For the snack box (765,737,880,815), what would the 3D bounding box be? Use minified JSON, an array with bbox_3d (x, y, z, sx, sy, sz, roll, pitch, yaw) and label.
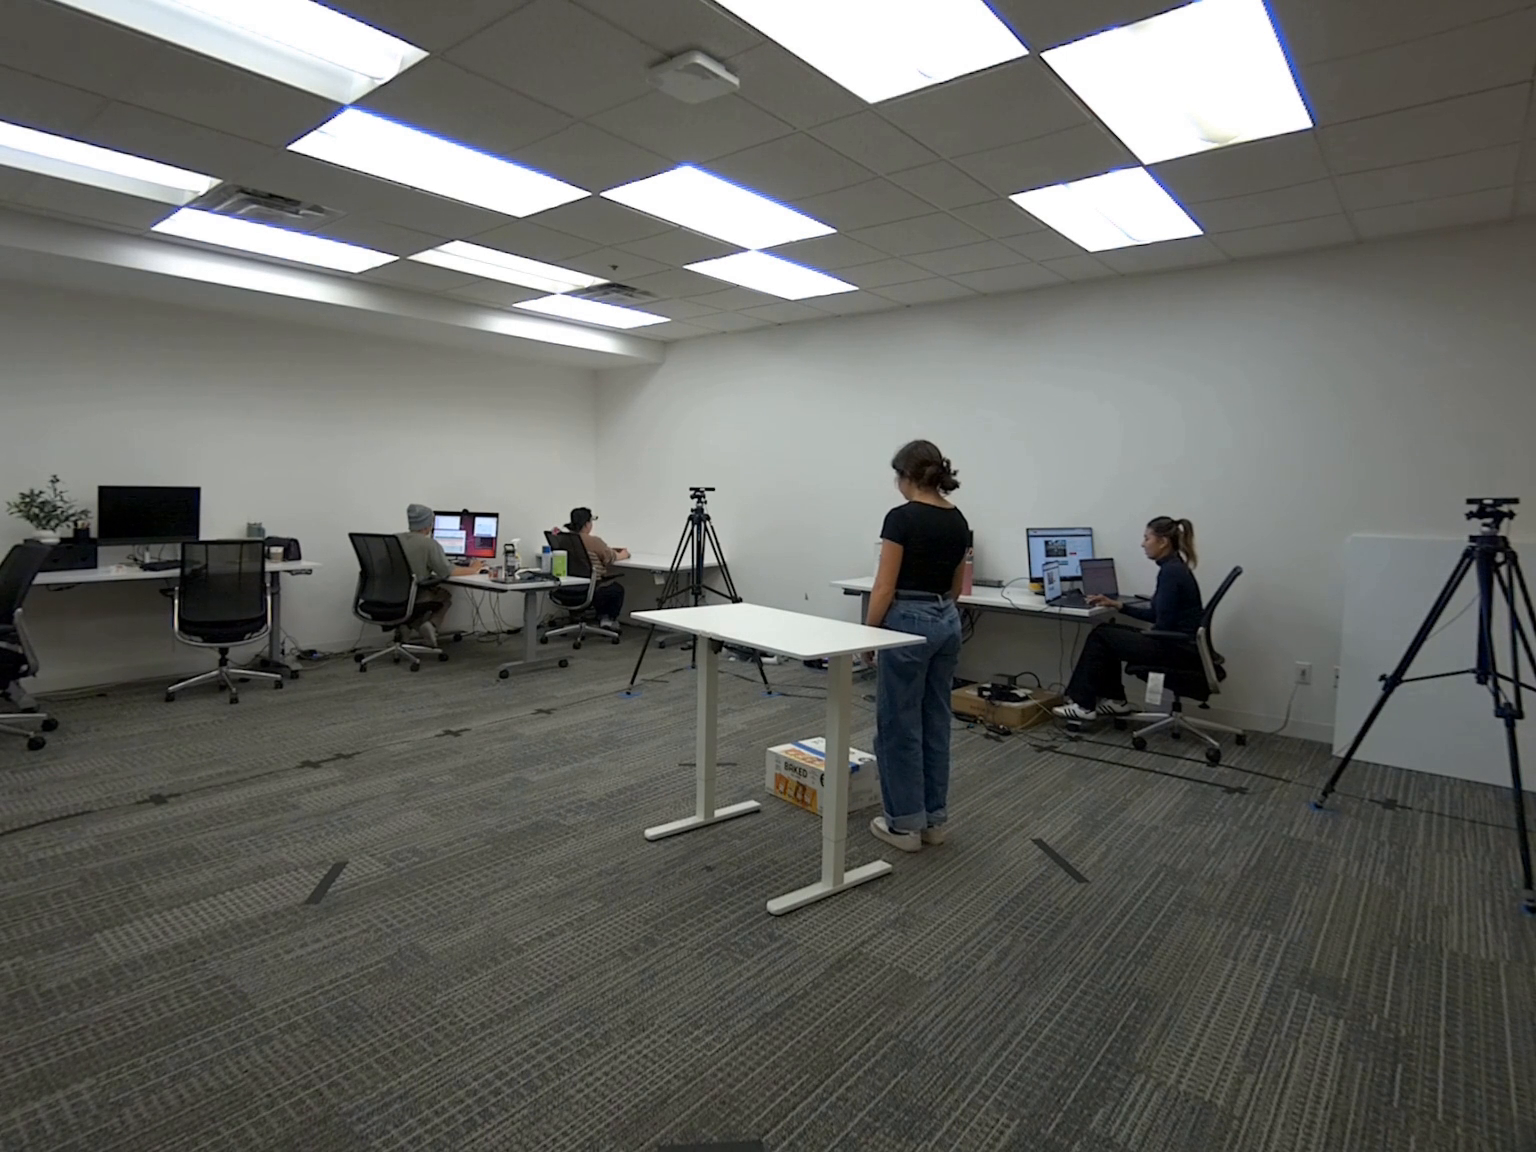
[{"bbox_3d":[0.243,0.902,3.857,0.330,0.205,0.419,-3,6,-39],"label":"snack box"}]
